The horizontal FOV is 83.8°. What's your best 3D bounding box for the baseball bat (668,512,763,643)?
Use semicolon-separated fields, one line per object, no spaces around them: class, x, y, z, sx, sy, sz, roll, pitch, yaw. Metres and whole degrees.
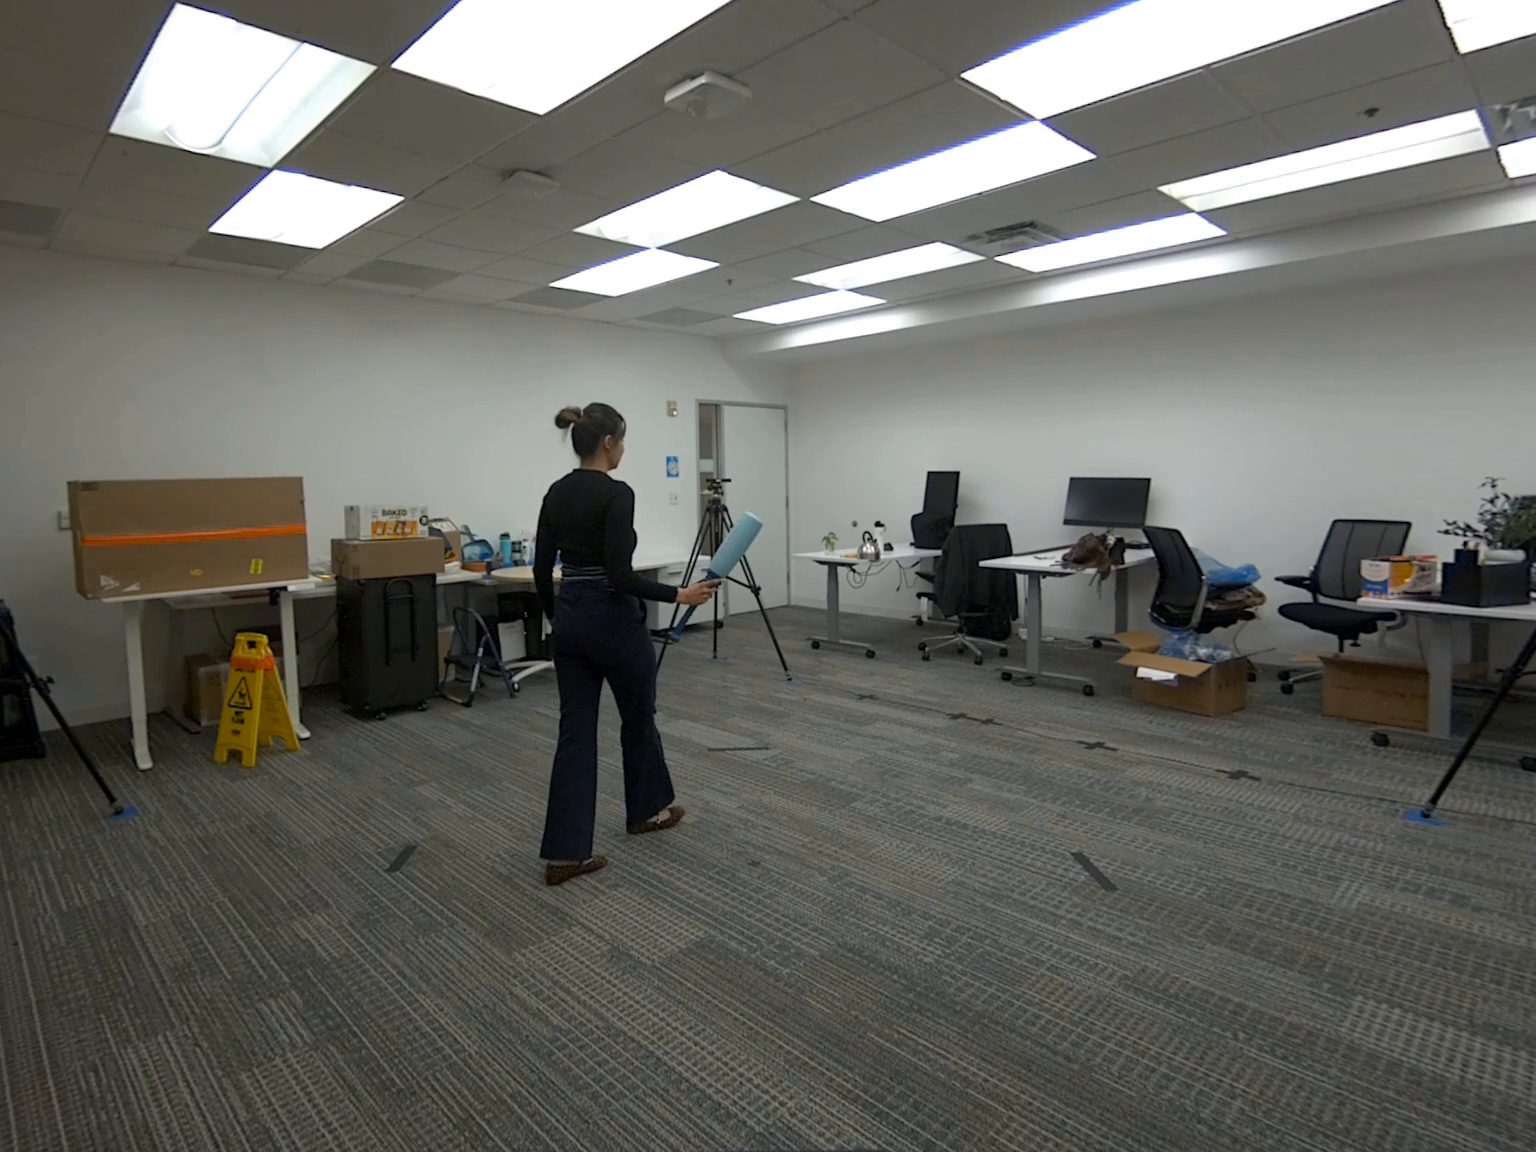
baseball bat;-0.198;-0.011;3.098;0.089;0.543;0.089;34;0;-2
